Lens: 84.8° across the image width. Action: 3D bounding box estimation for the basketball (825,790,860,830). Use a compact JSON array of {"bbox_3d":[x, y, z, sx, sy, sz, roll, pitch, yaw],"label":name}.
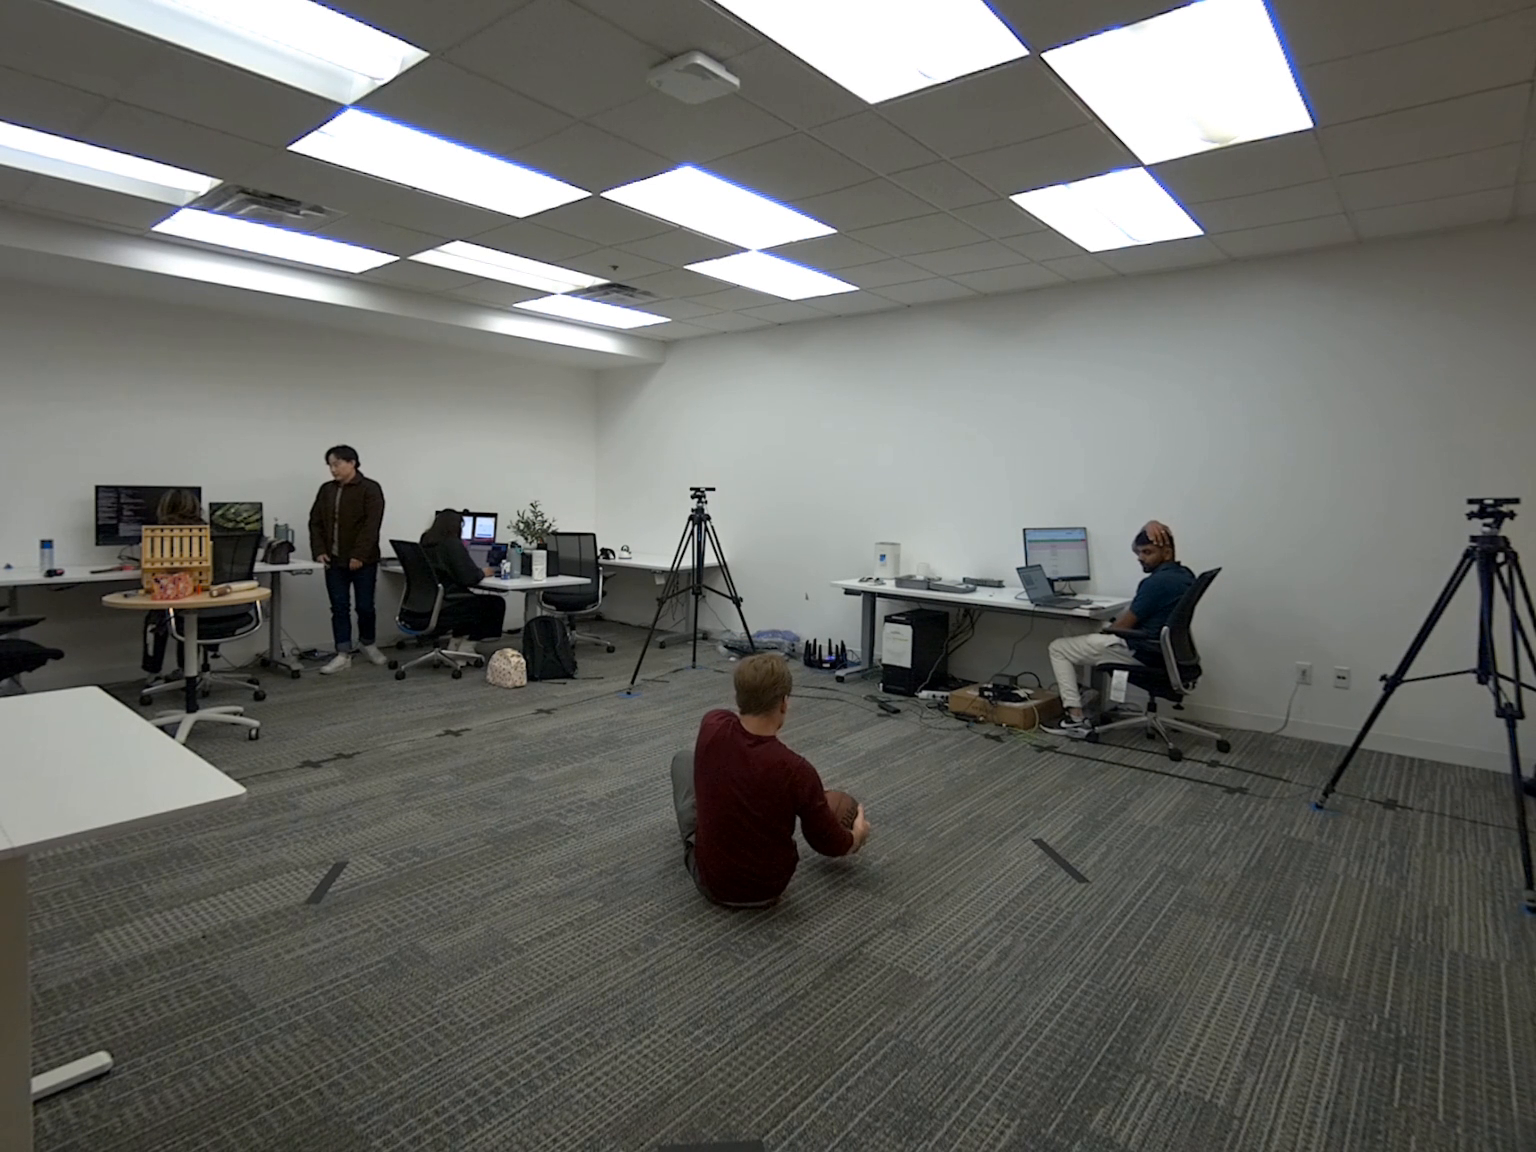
[{"bbox_3d":[0.230,0.911,3.161,0.235,0.235,0.237,1,4,-2],"label":"basketball"}]
